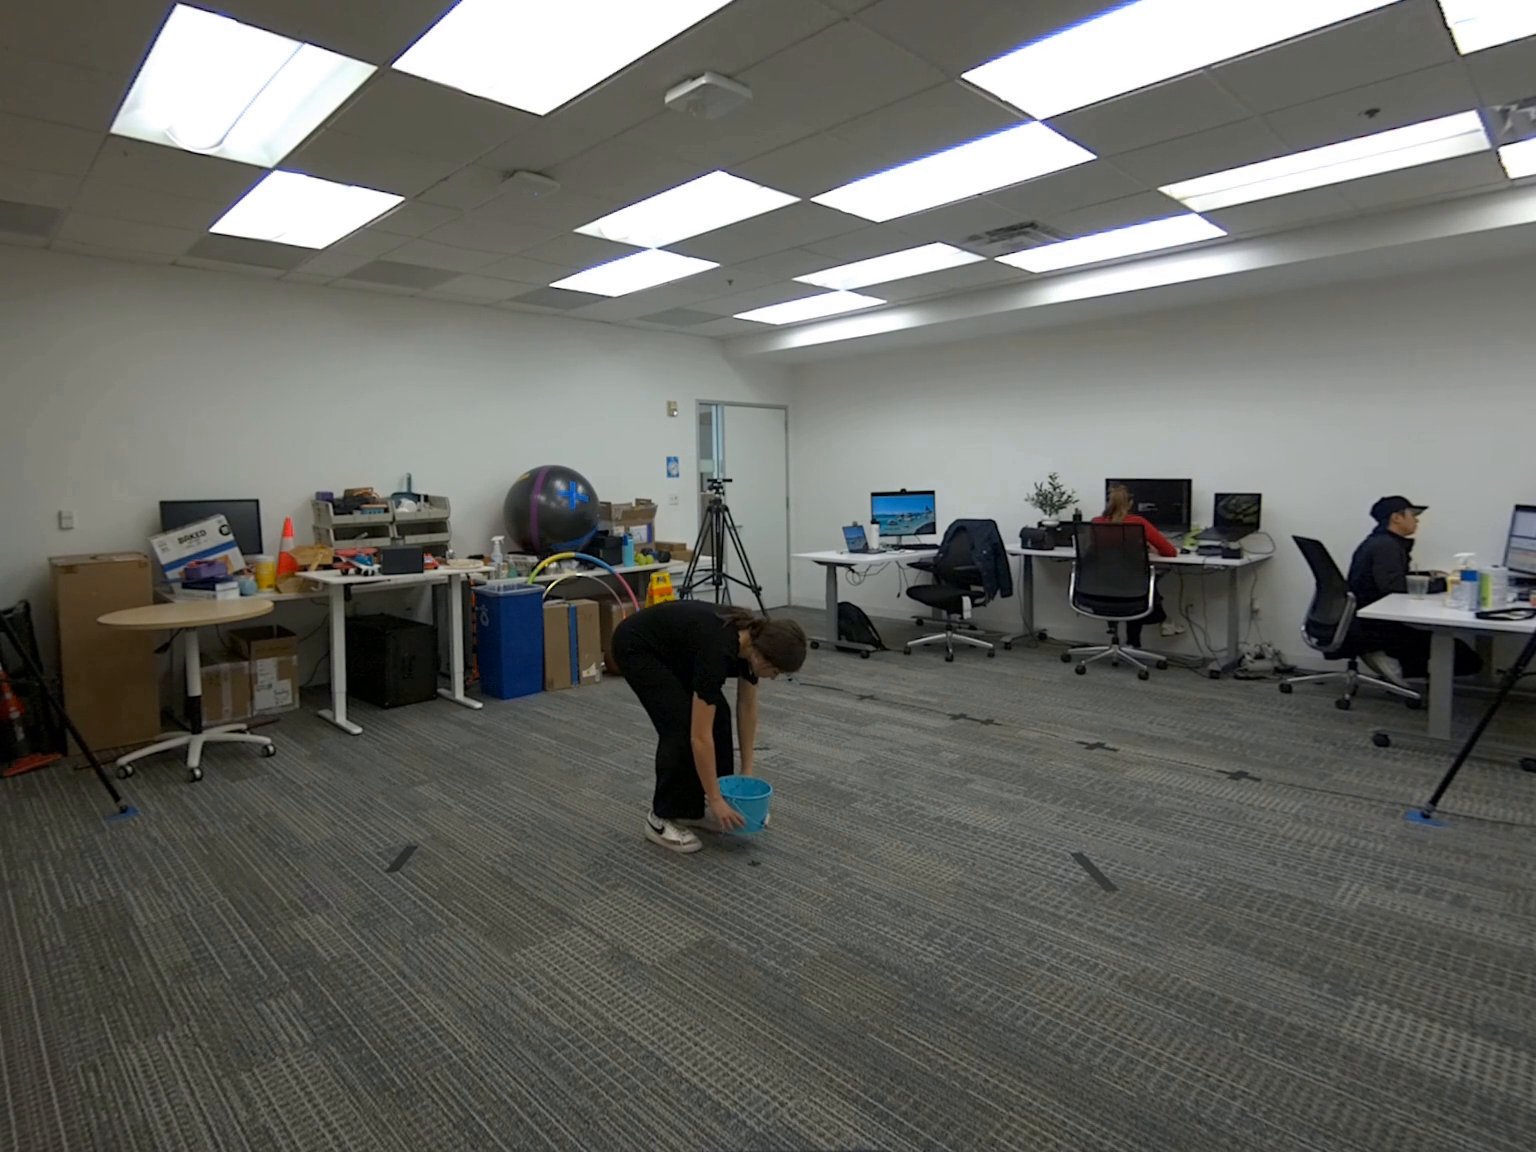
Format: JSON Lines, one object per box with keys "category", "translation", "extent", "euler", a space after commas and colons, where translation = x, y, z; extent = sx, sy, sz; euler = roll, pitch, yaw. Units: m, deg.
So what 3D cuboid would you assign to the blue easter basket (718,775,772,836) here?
{"category": "blue easter basket", "translation": [-0.101, 0.870, 3.259], "extent": [0.243, 0.155, 0.245], "euler": [2, 7, -2]}
